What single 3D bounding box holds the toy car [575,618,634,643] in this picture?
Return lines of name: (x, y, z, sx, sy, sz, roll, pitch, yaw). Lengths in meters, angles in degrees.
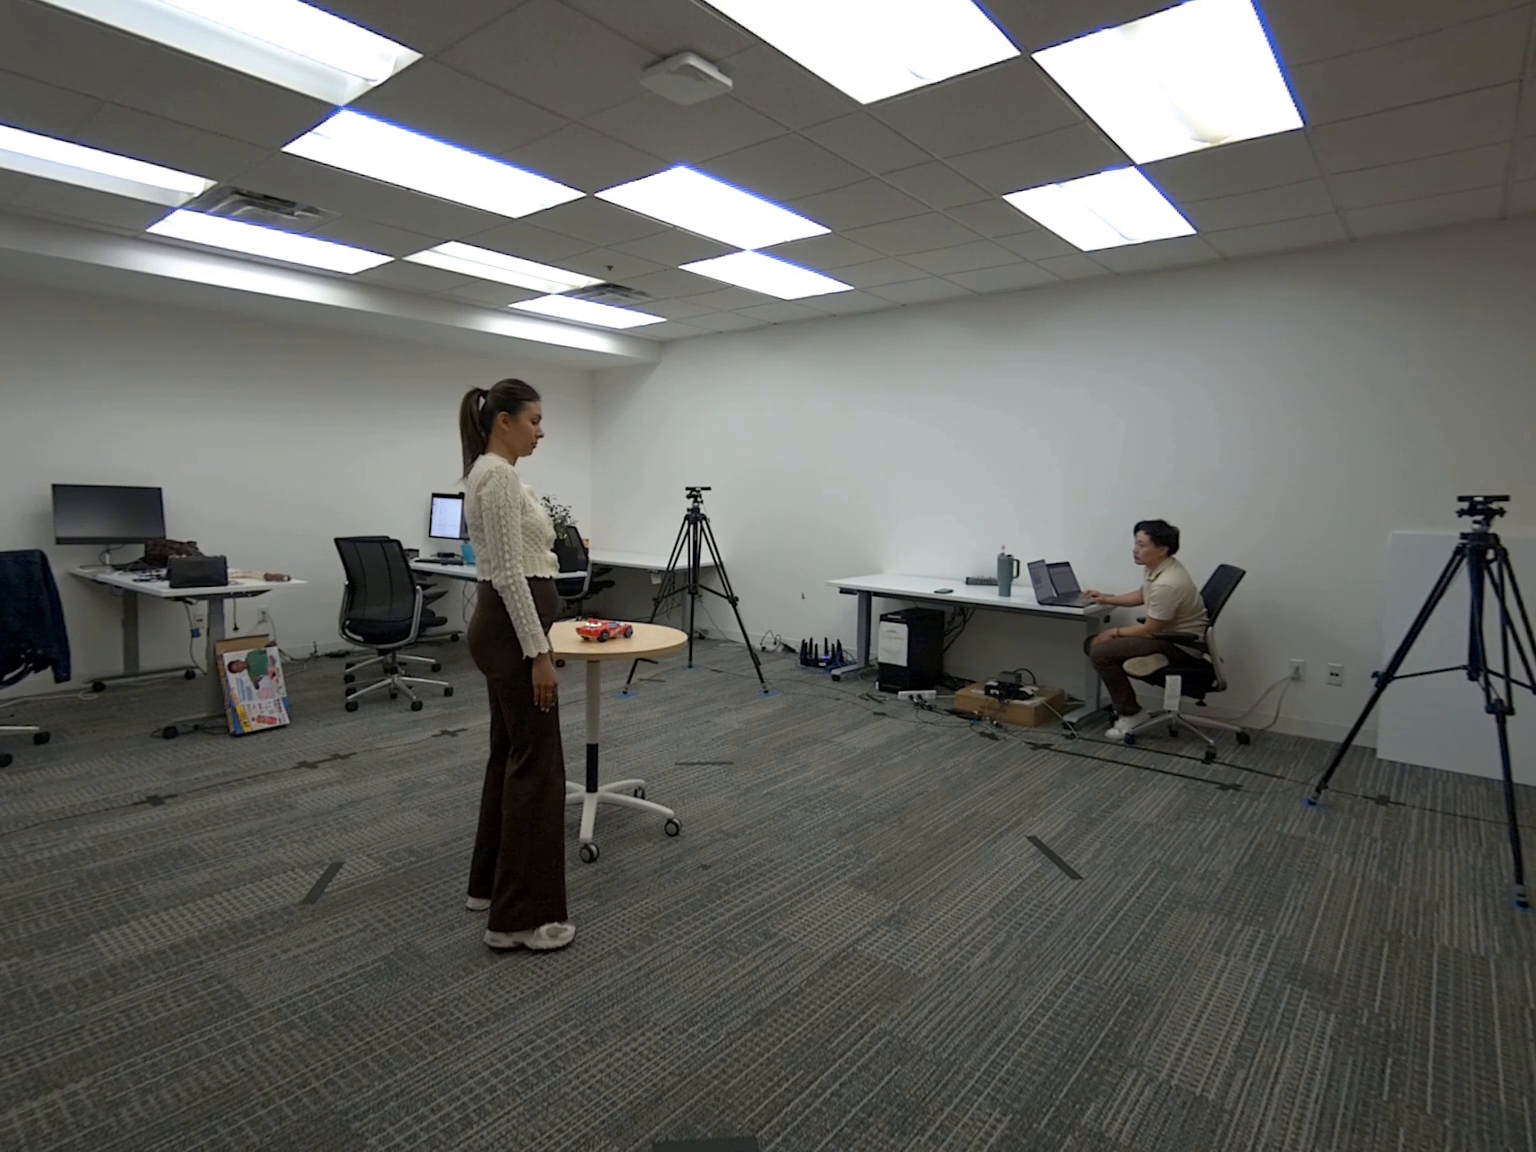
toy car: (-0.672, 0.217, 3.386, 0.134, 0.083, 0.245, 4, -5, 35)
